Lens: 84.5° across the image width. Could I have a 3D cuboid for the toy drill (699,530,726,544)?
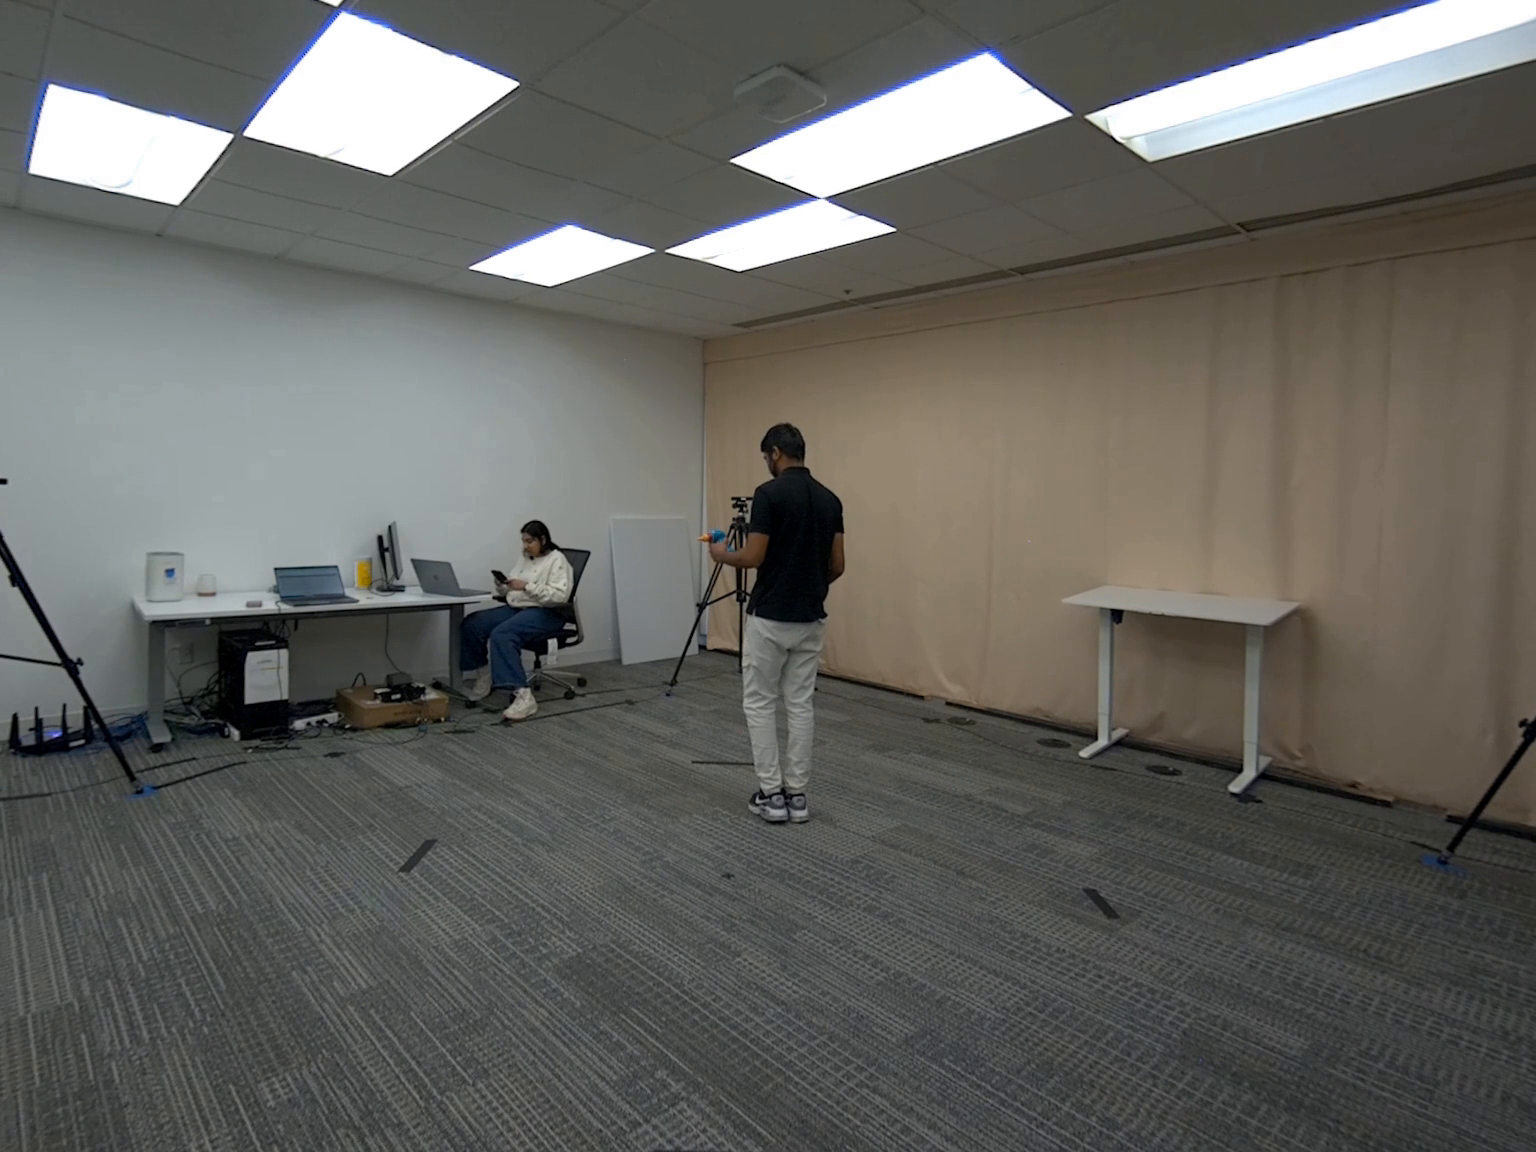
[{"bbox_3d":[-0.247,-0.143,3.825,0.166,0.148,0.061,-12,-23,-46],"label":"toy drill"}]
